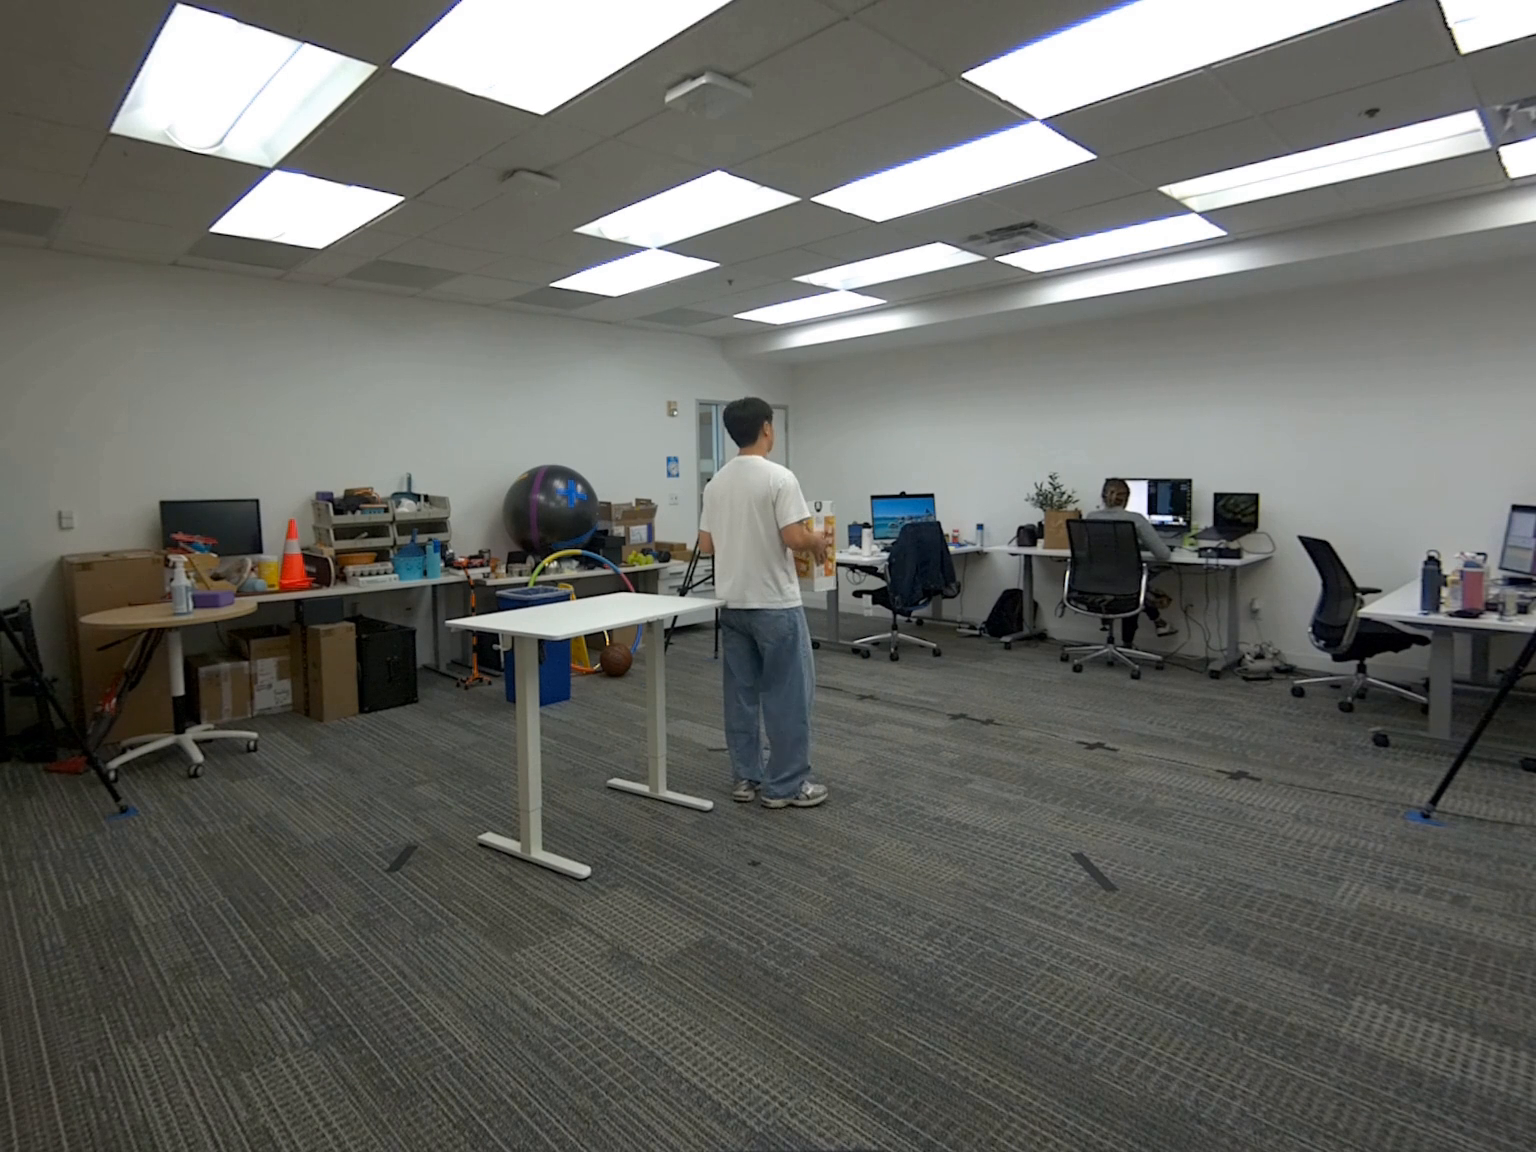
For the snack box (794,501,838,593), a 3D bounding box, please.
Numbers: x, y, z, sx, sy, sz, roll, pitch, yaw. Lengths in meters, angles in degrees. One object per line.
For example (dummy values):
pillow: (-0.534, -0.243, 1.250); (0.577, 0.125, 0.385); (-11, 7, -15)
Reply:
snack box: (0.129, -0.145, 3.968); (0.350, 0.404, 0.200); (2, 3, 34)
